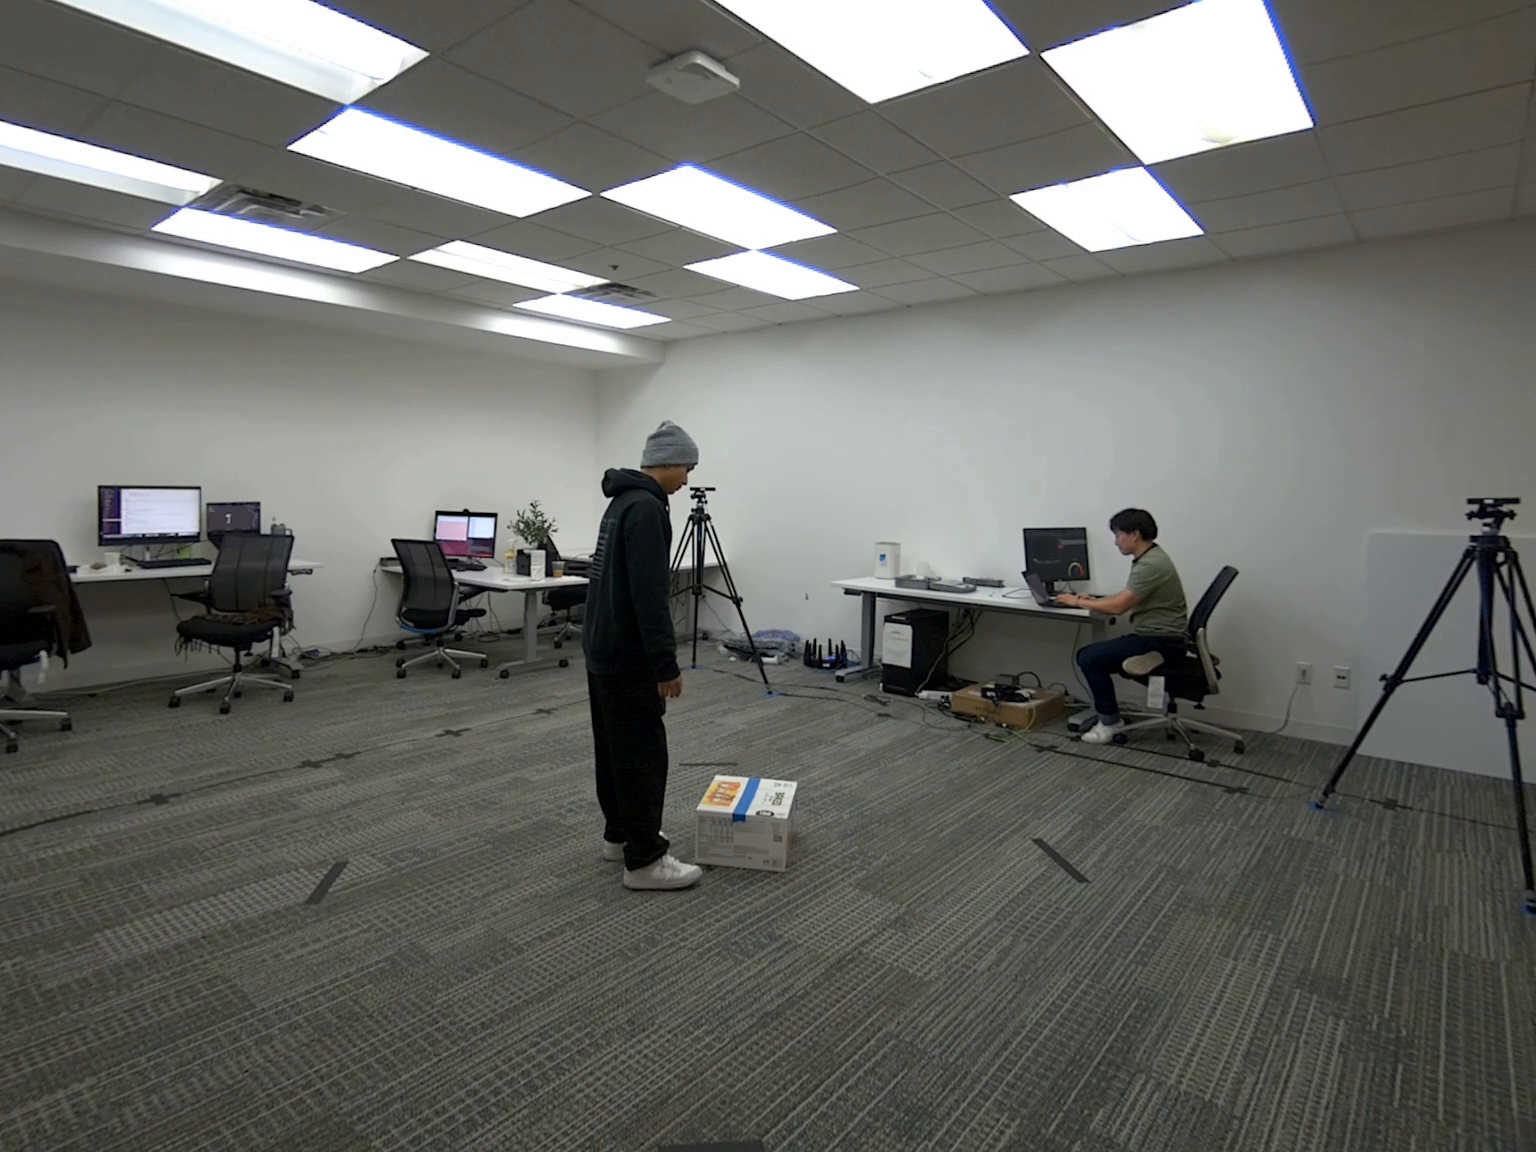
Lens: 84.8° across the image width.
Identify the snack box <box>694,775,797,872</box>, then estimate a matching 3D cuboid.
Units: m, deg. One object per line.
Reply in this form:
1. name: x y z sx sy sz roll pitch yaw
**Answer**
1. snack box: -0.084 0.948 3.302 0.344 0.205 0.402 2 5 9
